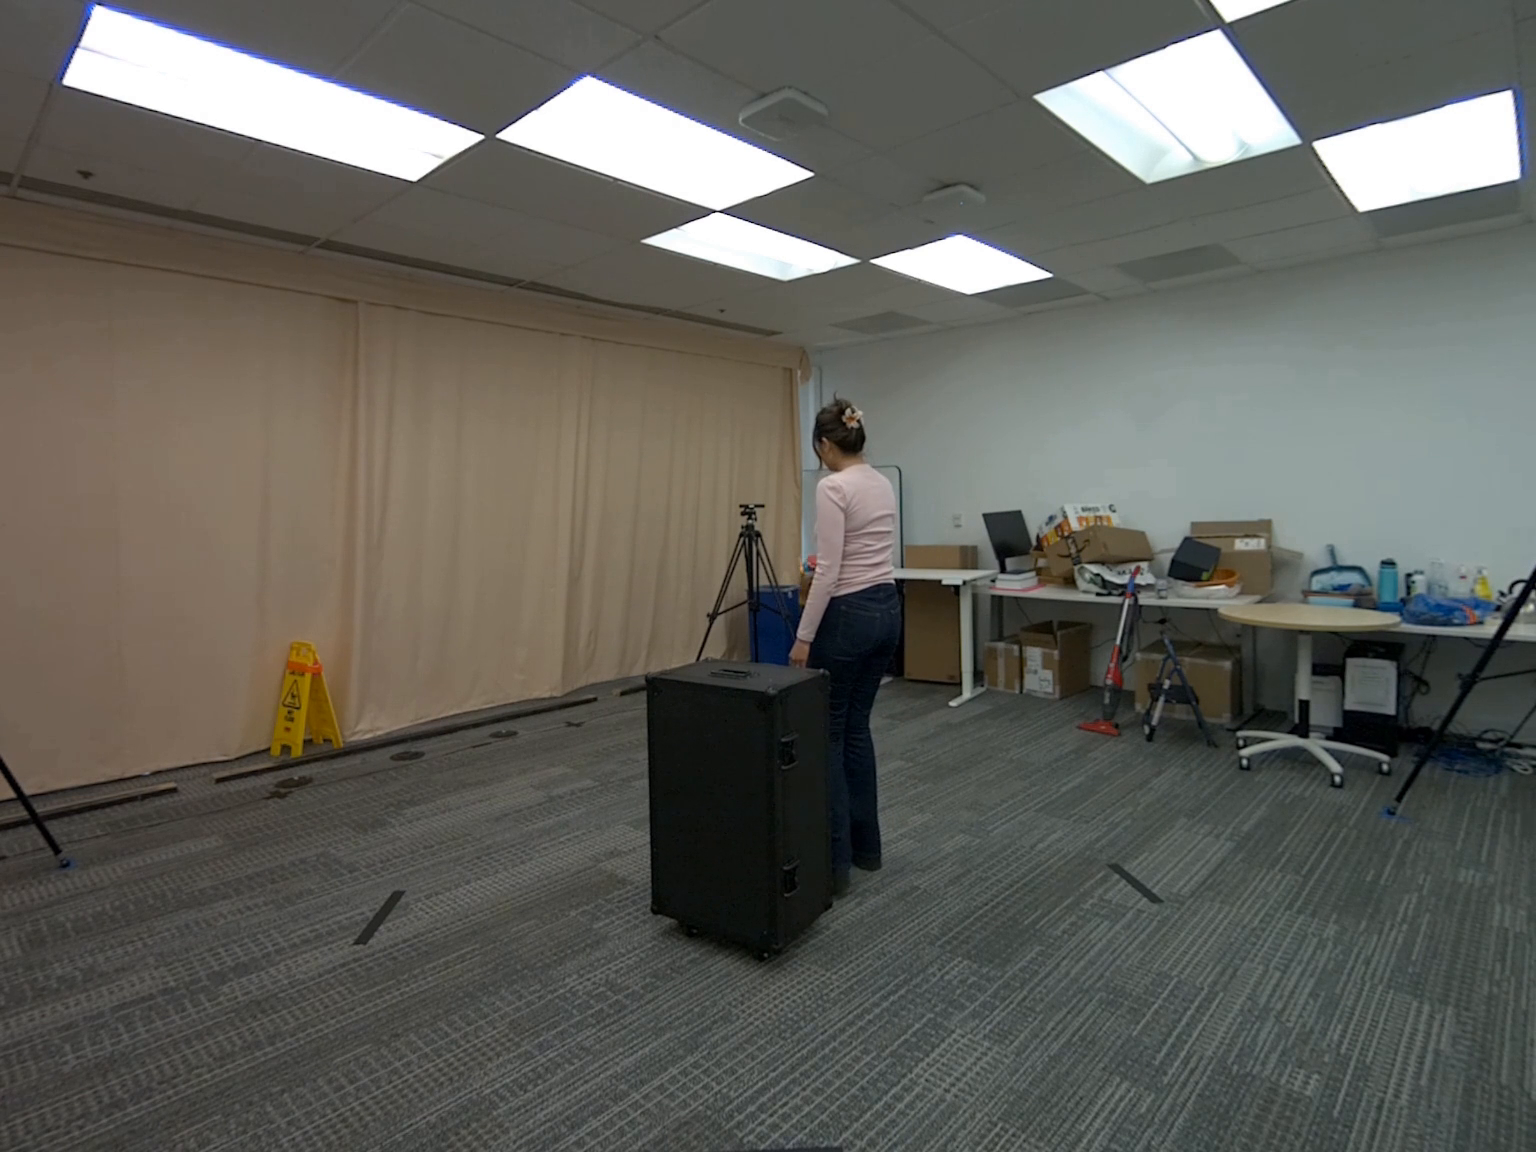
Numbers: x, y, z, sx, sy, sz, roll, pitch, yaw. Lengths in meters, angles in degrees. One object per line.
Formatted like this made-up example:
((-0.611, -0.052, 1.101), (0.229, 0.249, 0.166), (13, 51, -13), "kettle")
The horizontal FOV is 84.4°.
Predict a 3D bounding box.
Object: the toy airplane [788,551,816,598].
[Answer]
((0.281, -0.033, 3.798), (0.255, 0.155, 0.257), (-27, 10, -24), "toy airplane")
